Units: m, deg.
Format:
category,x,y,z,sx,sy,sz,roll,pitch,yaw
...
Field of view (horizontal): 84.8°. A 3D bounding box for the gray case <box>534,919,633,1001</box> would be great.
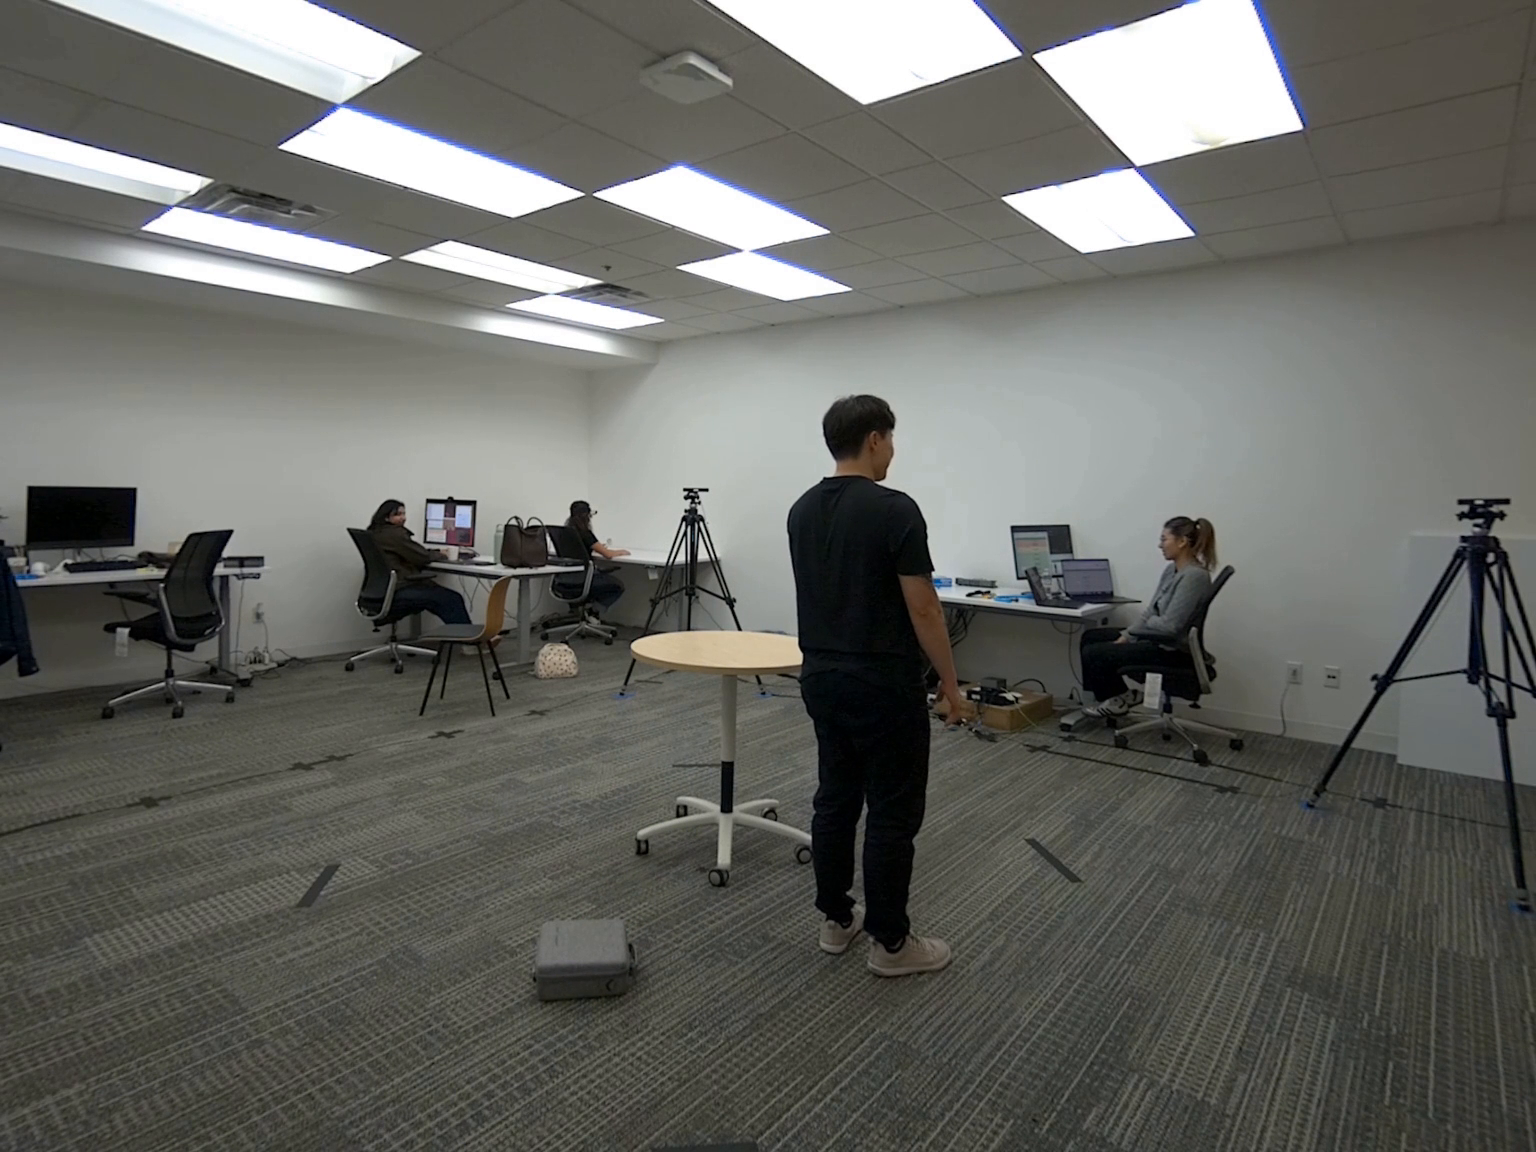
category,x,y,z,sx,sy,sz,roll,pitch,yaw
gray case,-0.536,1.078,2.415,0.258,0.104,0.261,-1,6,-11
